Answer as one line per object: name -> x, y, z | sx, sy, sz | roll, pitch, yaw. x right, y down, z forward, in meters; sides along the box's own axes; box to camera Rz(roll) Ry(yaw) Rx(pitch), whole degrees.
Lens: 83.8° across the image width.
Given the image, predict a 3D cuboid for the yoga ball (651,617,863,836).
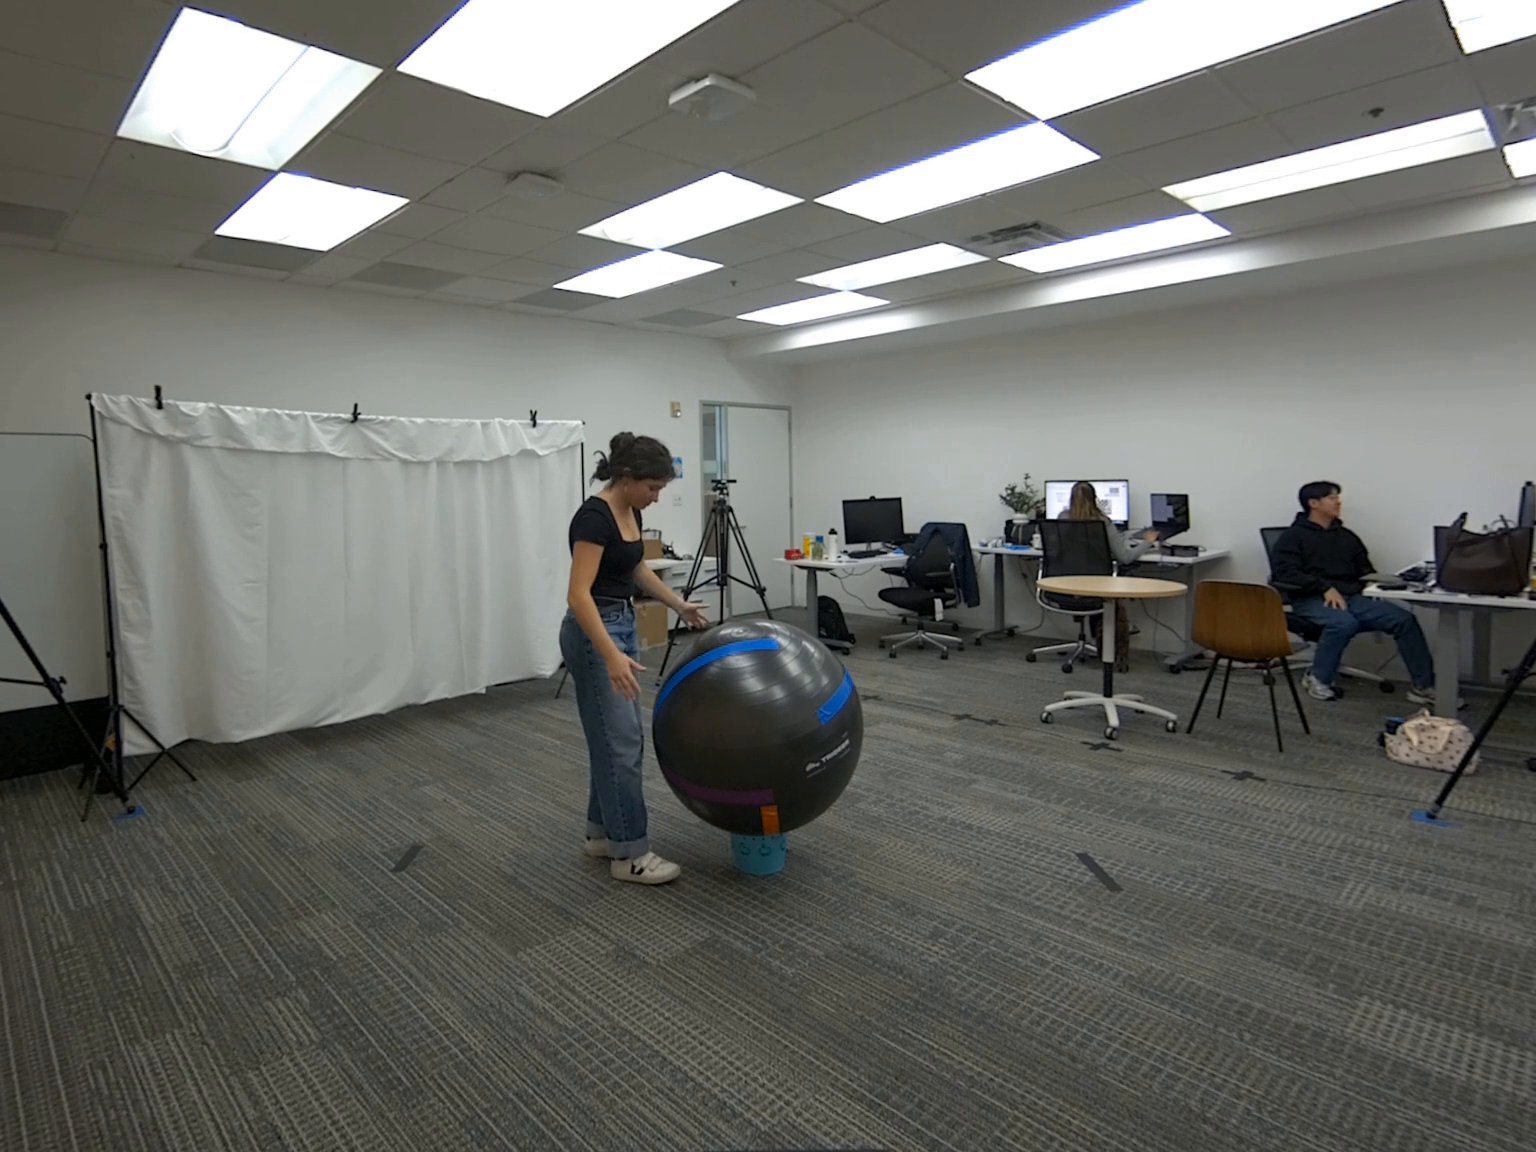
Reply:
yoga ball -> -0.038, 0.543, 3.065 | 0.757, 0.755, 0.762 | -1, 5, -2
